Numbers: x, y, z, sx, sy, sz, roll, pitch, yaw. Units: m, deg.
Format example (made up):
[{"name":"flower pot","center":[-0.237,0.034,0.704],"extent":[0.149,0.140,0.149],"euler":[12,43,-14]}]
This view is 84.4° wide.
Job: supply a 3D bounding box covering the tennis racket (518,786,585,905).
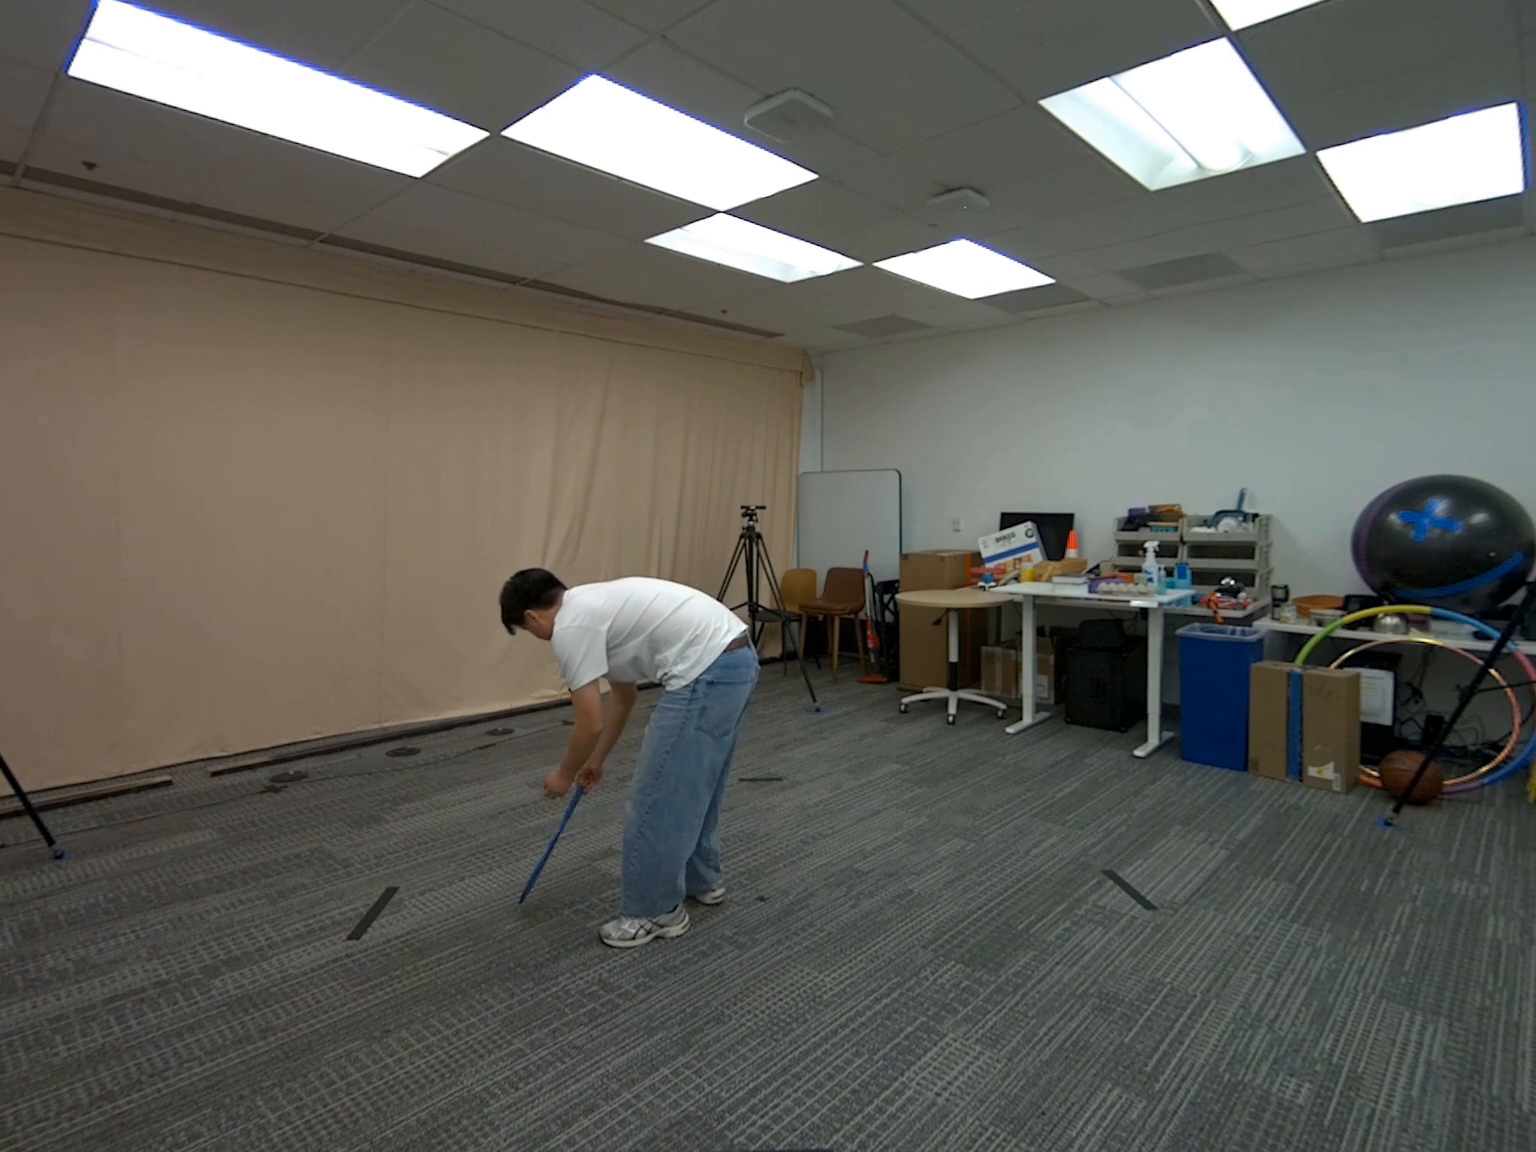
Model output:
[{"name":"tennis racket","center":[-0.726,0.929,2.930],"extent":[0.032,0.434,0.211],"euler":[22,-15,7]}]
